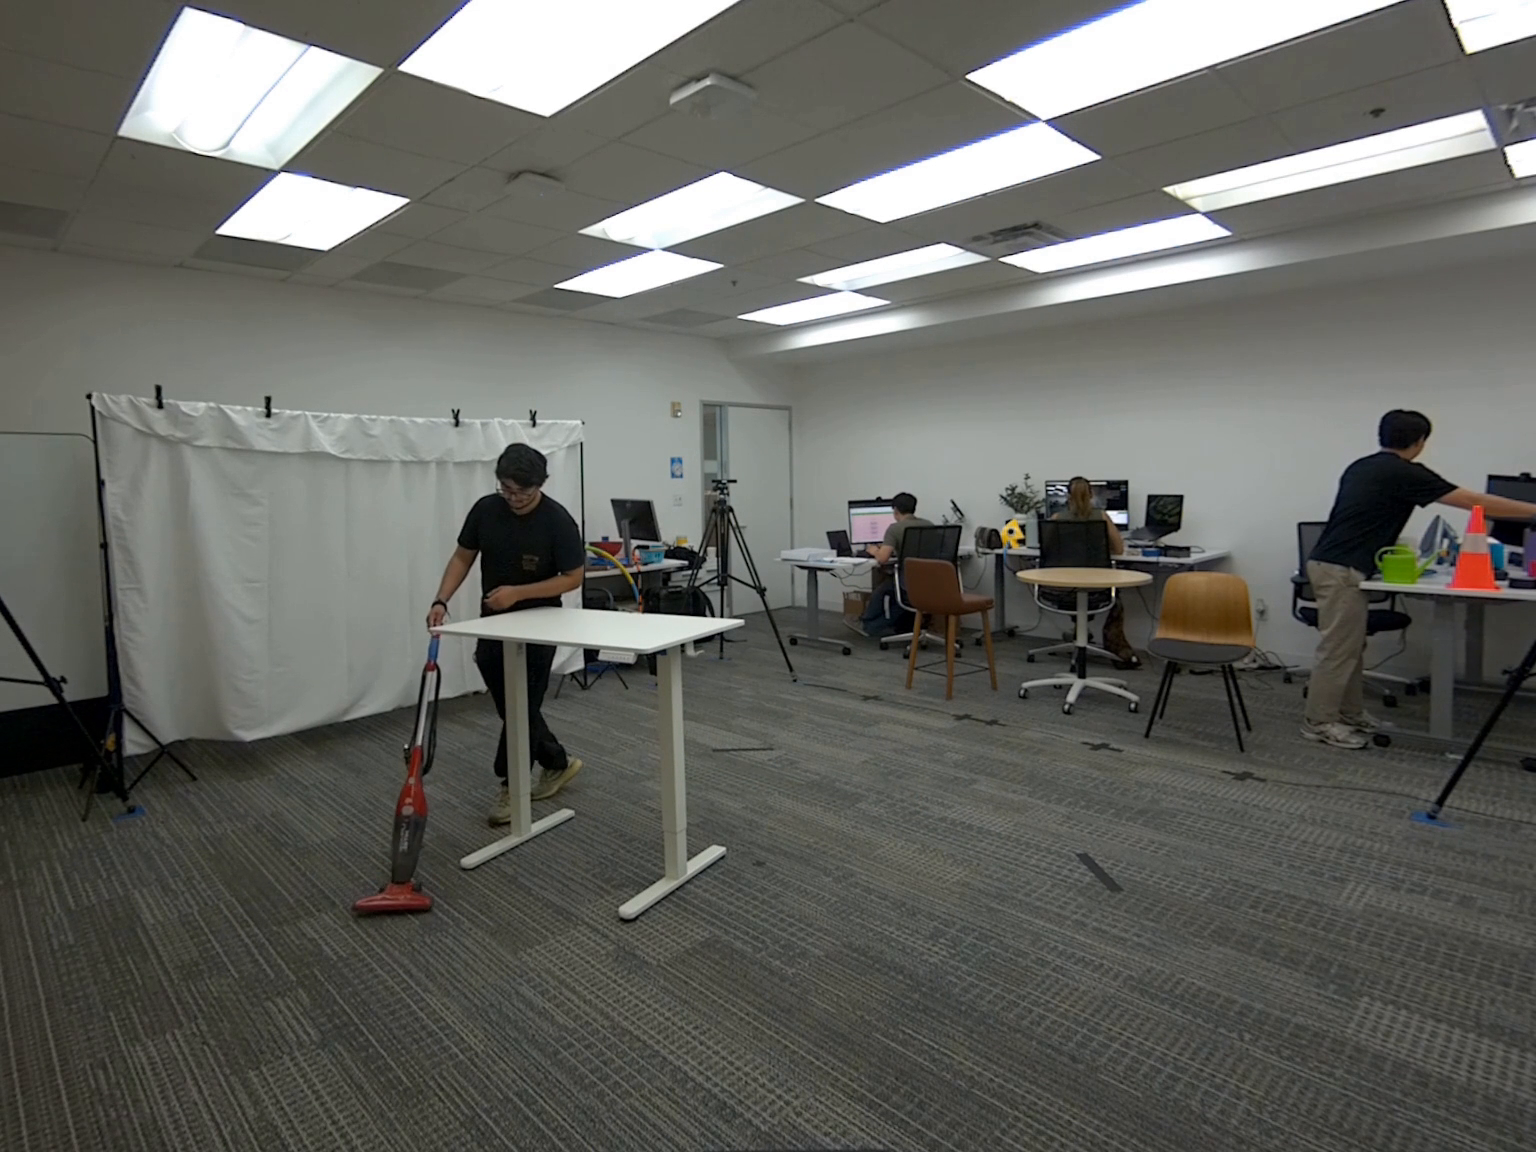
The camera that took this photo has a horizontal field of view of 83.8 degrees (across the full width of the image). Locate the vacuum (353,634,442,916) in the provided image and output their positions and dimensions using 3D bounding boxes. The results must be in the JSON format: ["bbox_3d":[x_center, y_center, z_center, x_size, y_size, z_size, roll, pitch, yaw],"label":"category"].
[{"bbox_3d":[-1.280,0.657,3.147,0.250,1.079,0.141,0,-35,-9],"label":"vacuum"}]
